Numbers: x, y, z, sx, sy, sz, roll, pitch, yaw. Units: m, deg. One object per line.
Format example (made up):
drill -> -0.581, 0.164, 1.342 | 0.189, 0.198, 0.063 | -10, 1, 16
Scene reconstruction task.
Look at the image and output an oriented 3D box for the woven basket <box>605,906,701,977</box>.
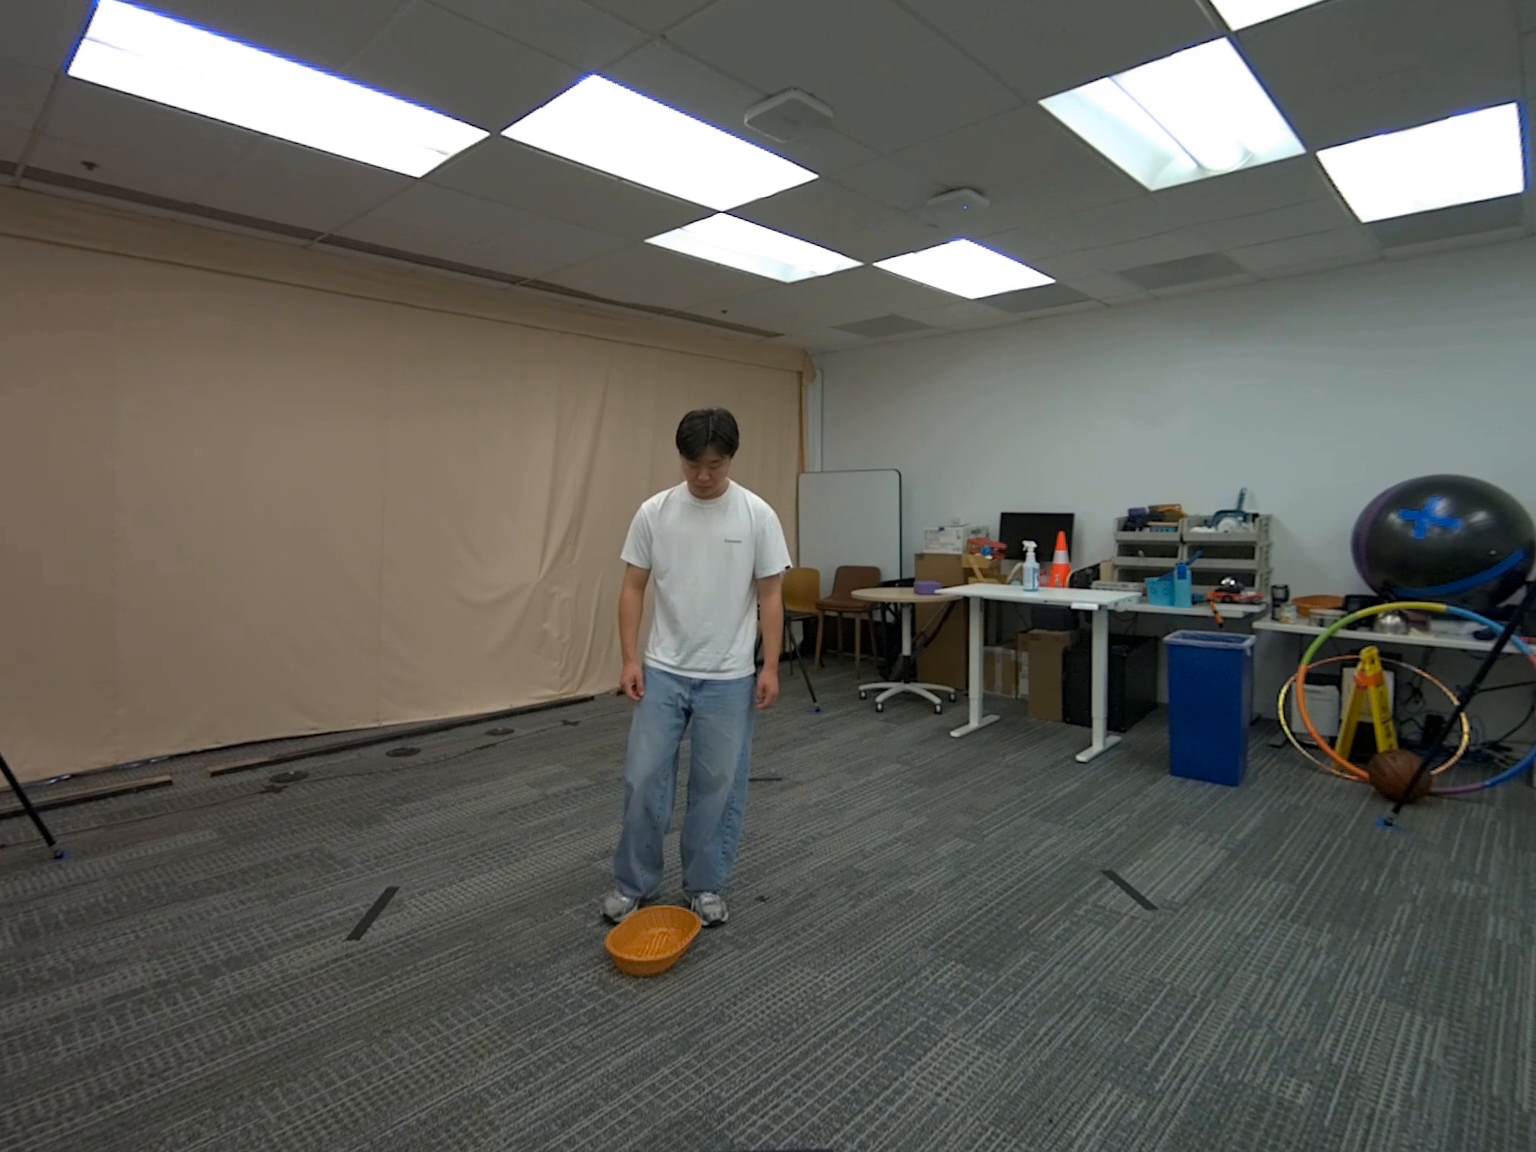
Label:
woven basket -> -0.349, 1.136, 2.619 | 0.259, 0.073, 0.342 | 2, 5, 26
